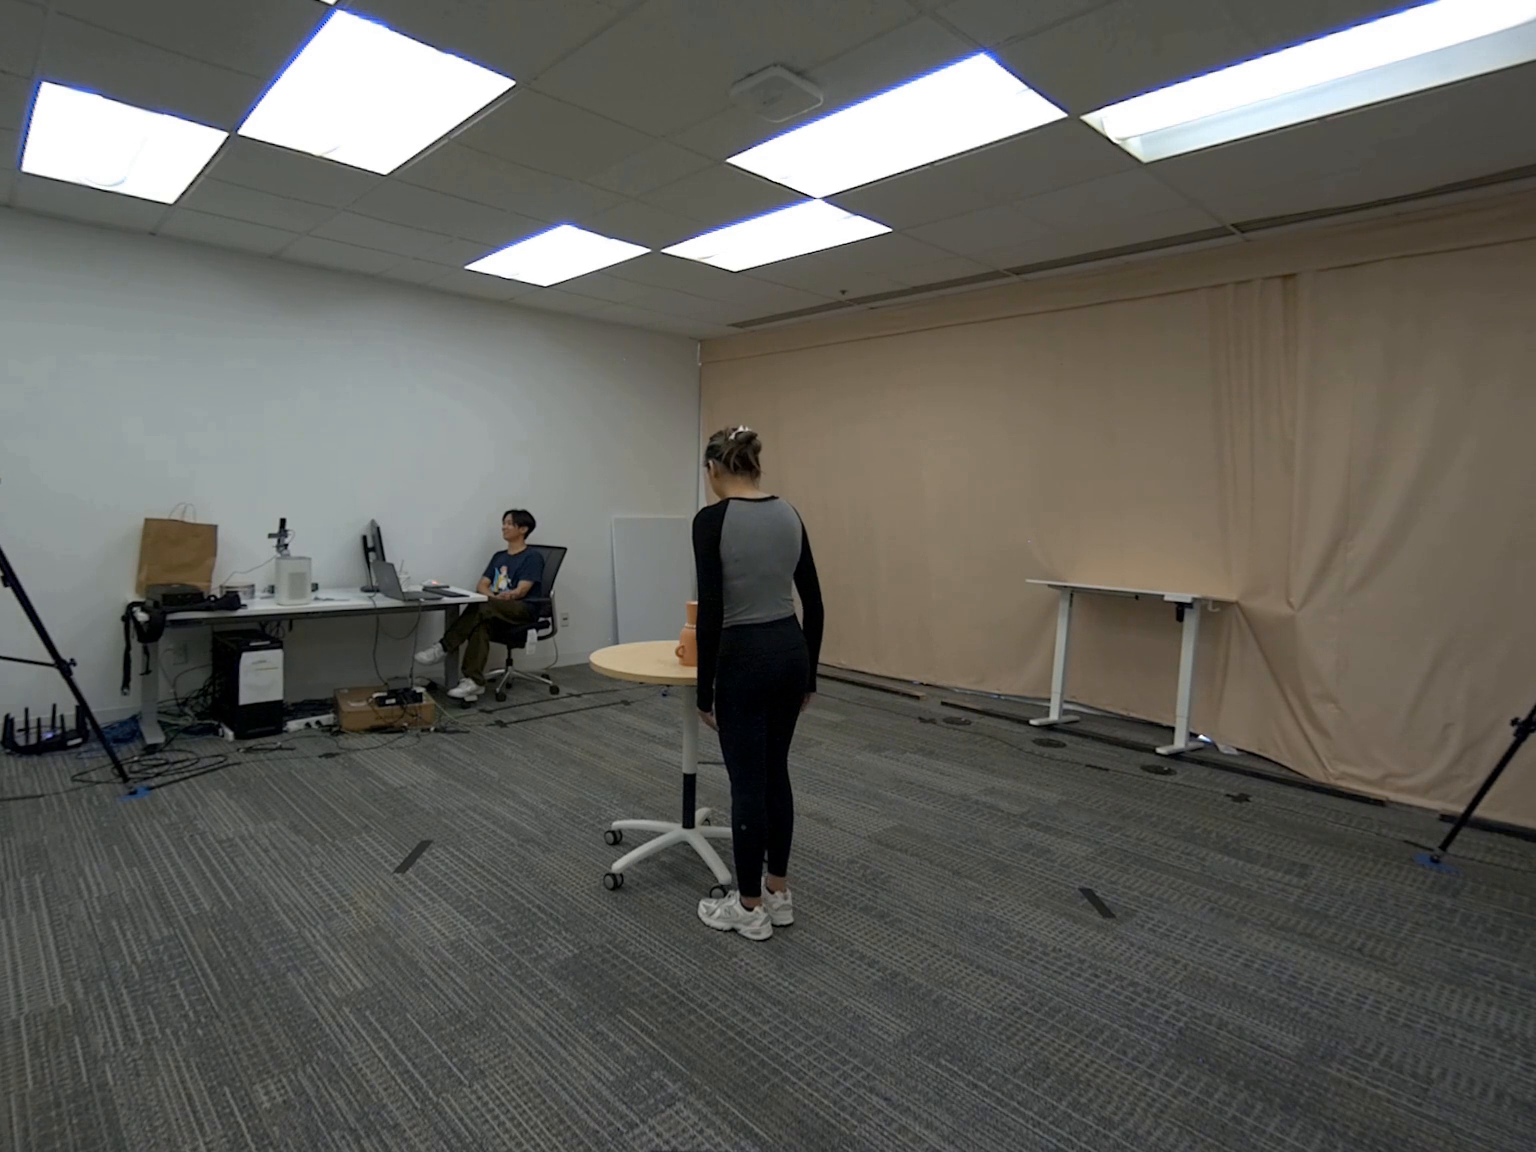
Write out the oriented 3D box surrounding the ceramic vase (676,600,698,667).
[{"bbox_3d":[-0.259,0.205,3.040,0.135,0.219,0.158,2,3,5],"label":"ceramic vase"}]
